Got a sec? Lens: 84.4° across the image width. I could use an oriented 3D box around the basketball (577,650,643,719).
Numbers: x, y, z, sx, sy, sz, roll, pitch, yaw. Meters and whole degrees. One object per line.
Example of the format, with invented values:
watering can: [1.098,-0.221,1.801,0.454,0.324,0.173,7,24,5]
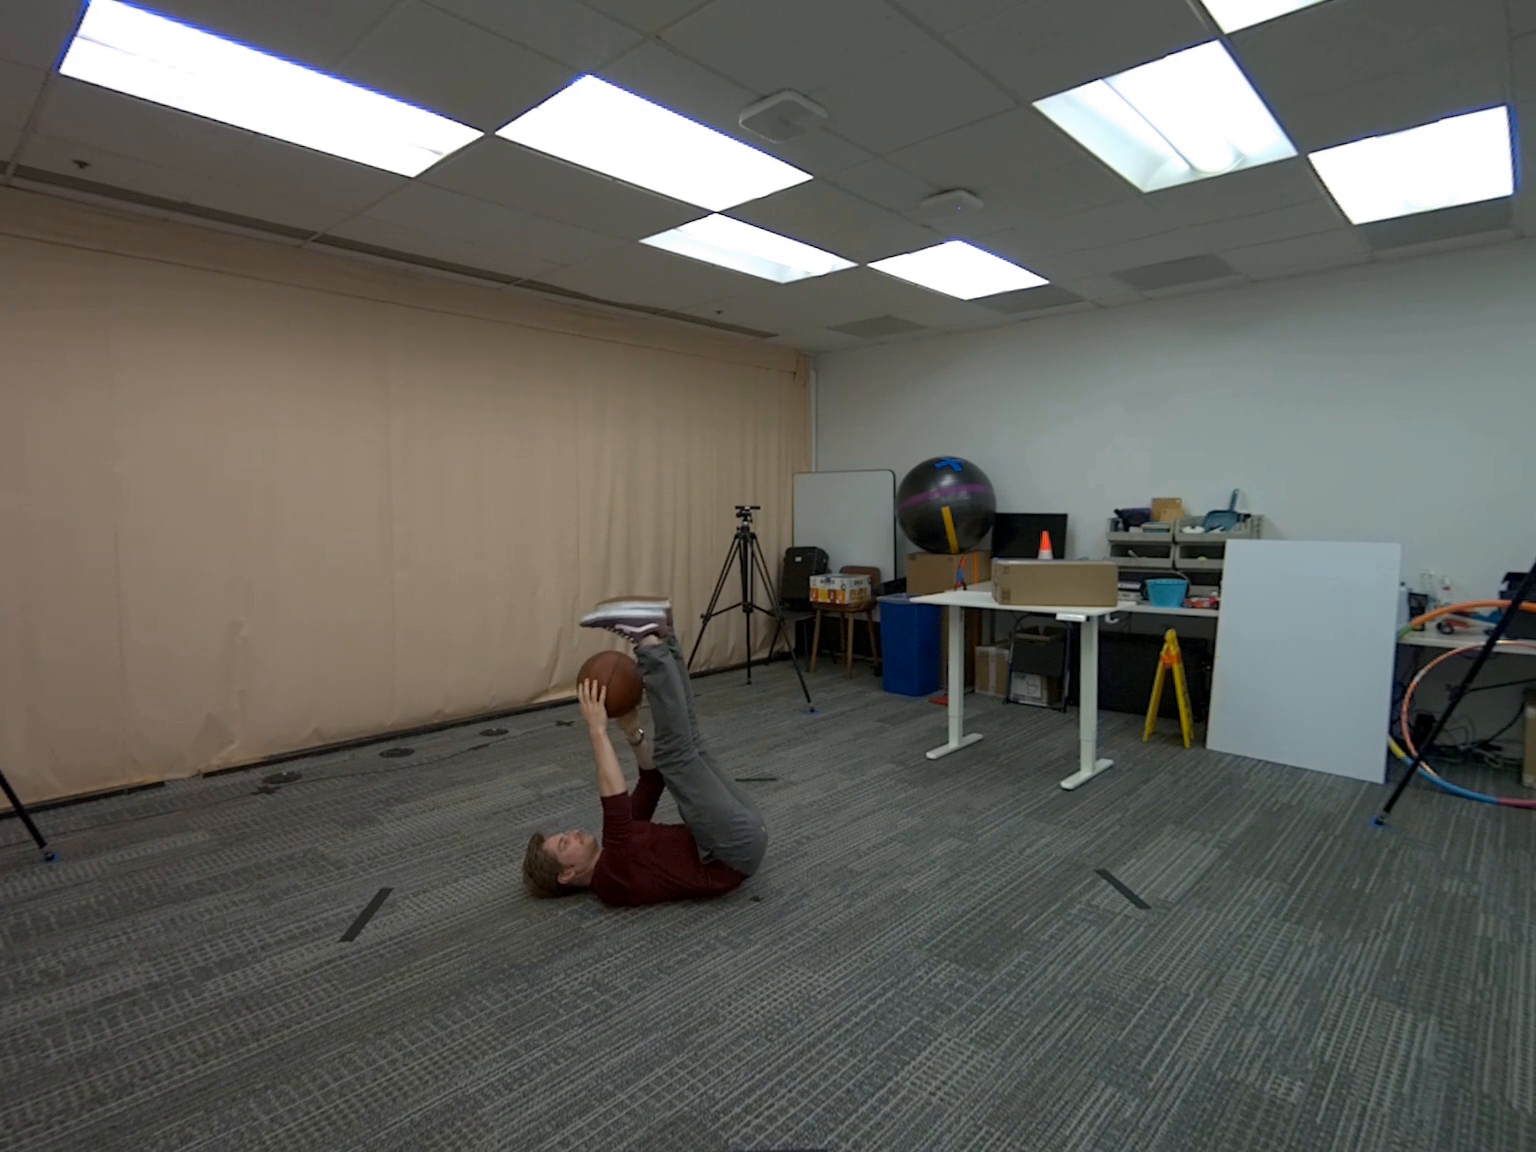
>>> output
basketball: [-0.571,0.390,3.007,0.236,0.235,0.237,0,4,-2]
